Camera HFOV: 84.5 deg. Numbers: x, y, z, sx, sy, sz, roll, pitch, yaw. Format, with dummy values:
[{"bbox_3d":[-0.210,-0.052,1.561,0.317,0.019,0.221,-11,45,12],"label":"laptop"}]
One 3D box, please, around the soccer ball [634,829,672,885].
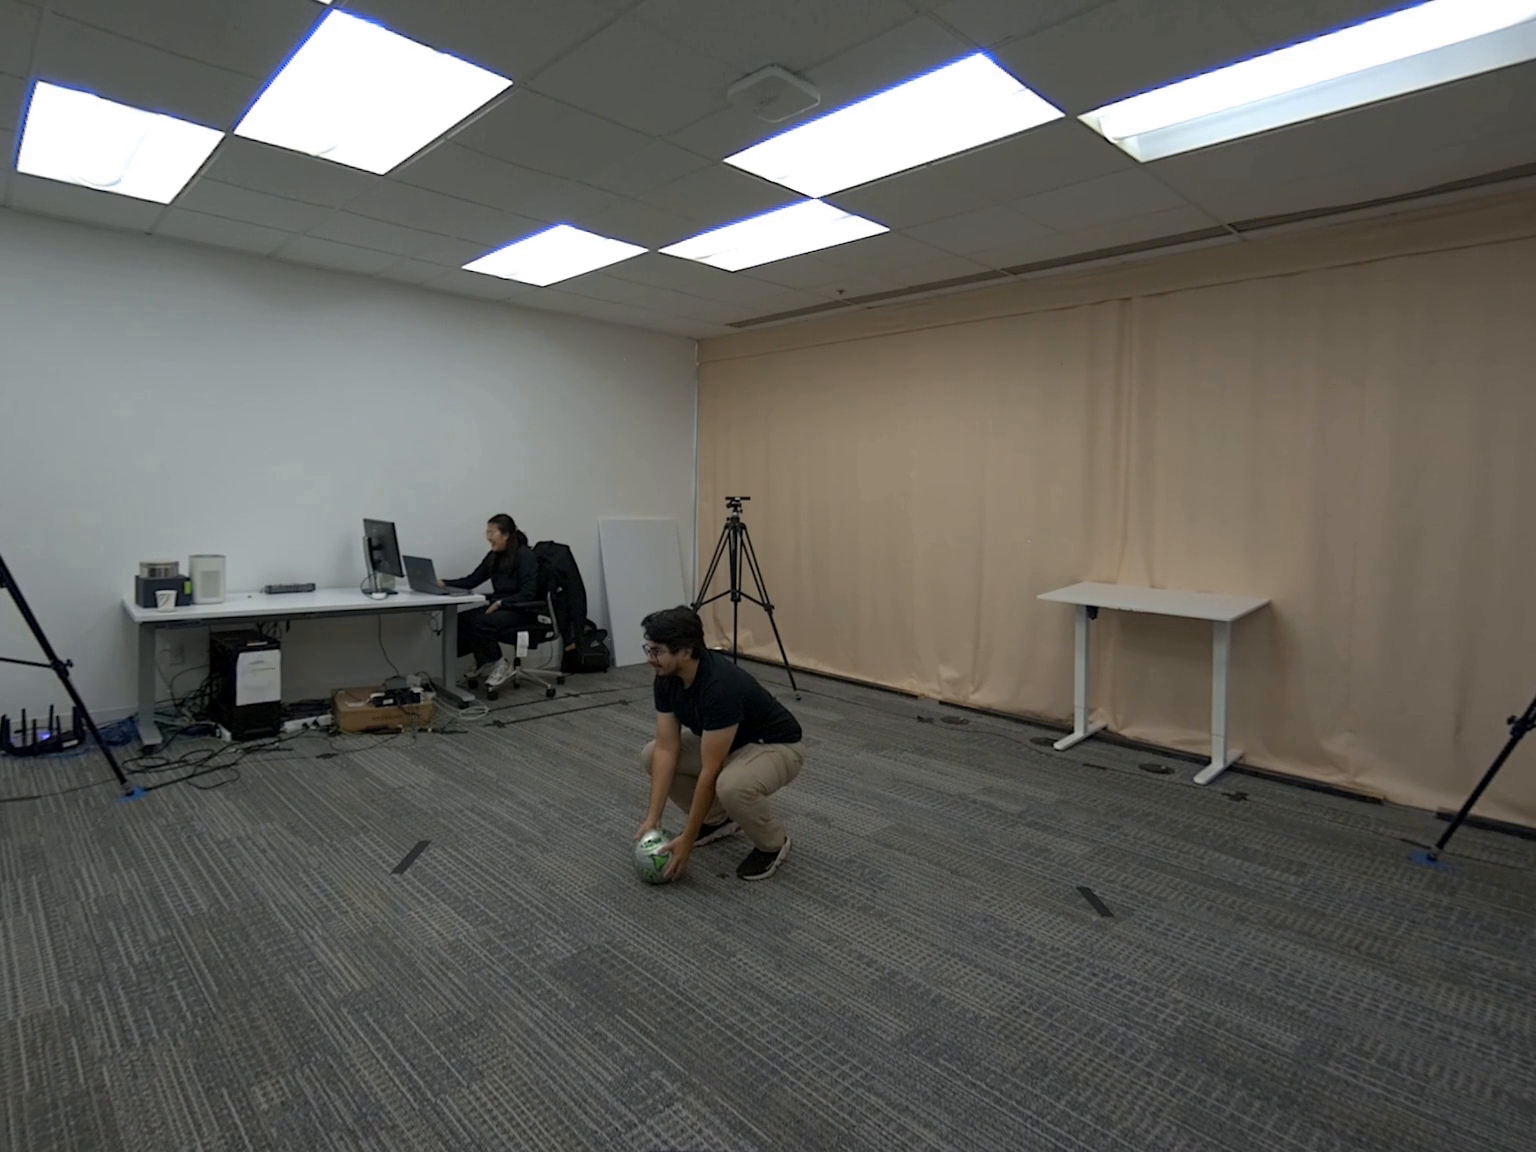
[{"bbox_3d":[-0.404,1.008,3.058,0.187,0.187,0.188,1,4,-1],"label":"soccer ball"}]
